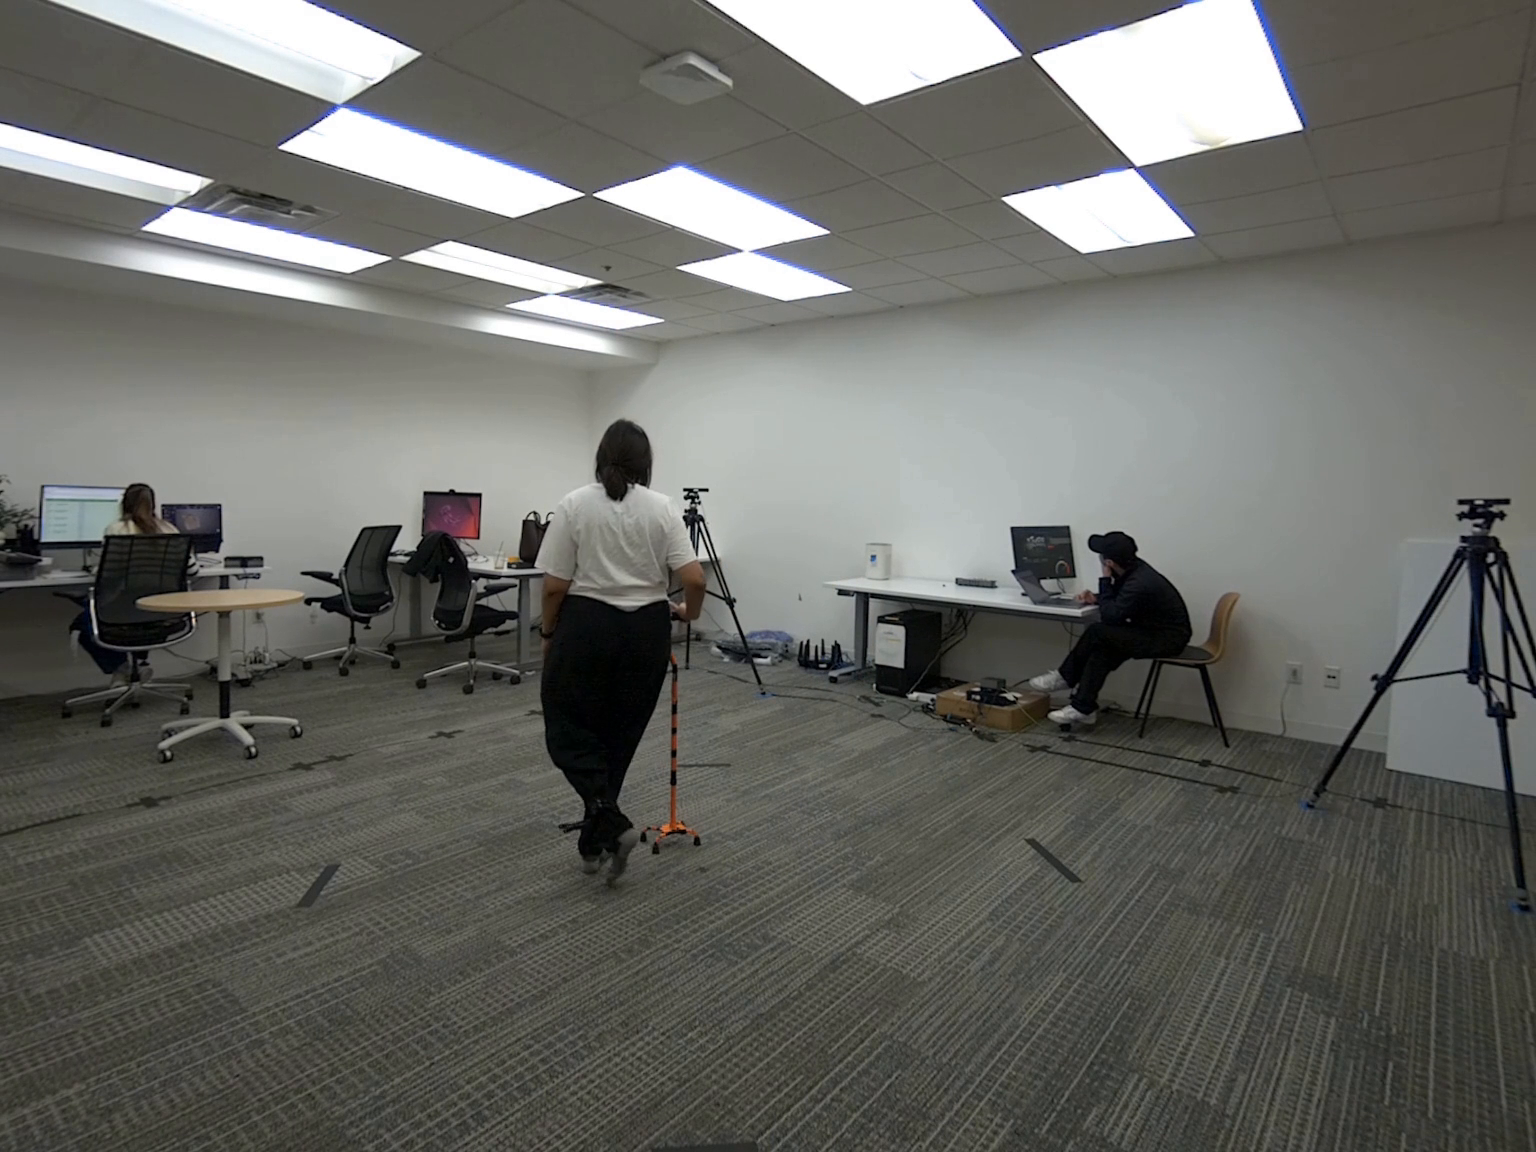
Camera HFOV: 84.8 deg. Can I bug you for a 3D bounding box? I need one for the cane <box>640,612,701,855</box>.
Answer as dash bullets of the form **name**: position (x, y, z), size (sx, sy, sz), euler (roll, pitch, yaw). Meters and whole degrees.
- **cane**: position (-0.383, 0.594, 3.331), size (0.201, 0.907, 0.156), euler (1, 2, -29)
